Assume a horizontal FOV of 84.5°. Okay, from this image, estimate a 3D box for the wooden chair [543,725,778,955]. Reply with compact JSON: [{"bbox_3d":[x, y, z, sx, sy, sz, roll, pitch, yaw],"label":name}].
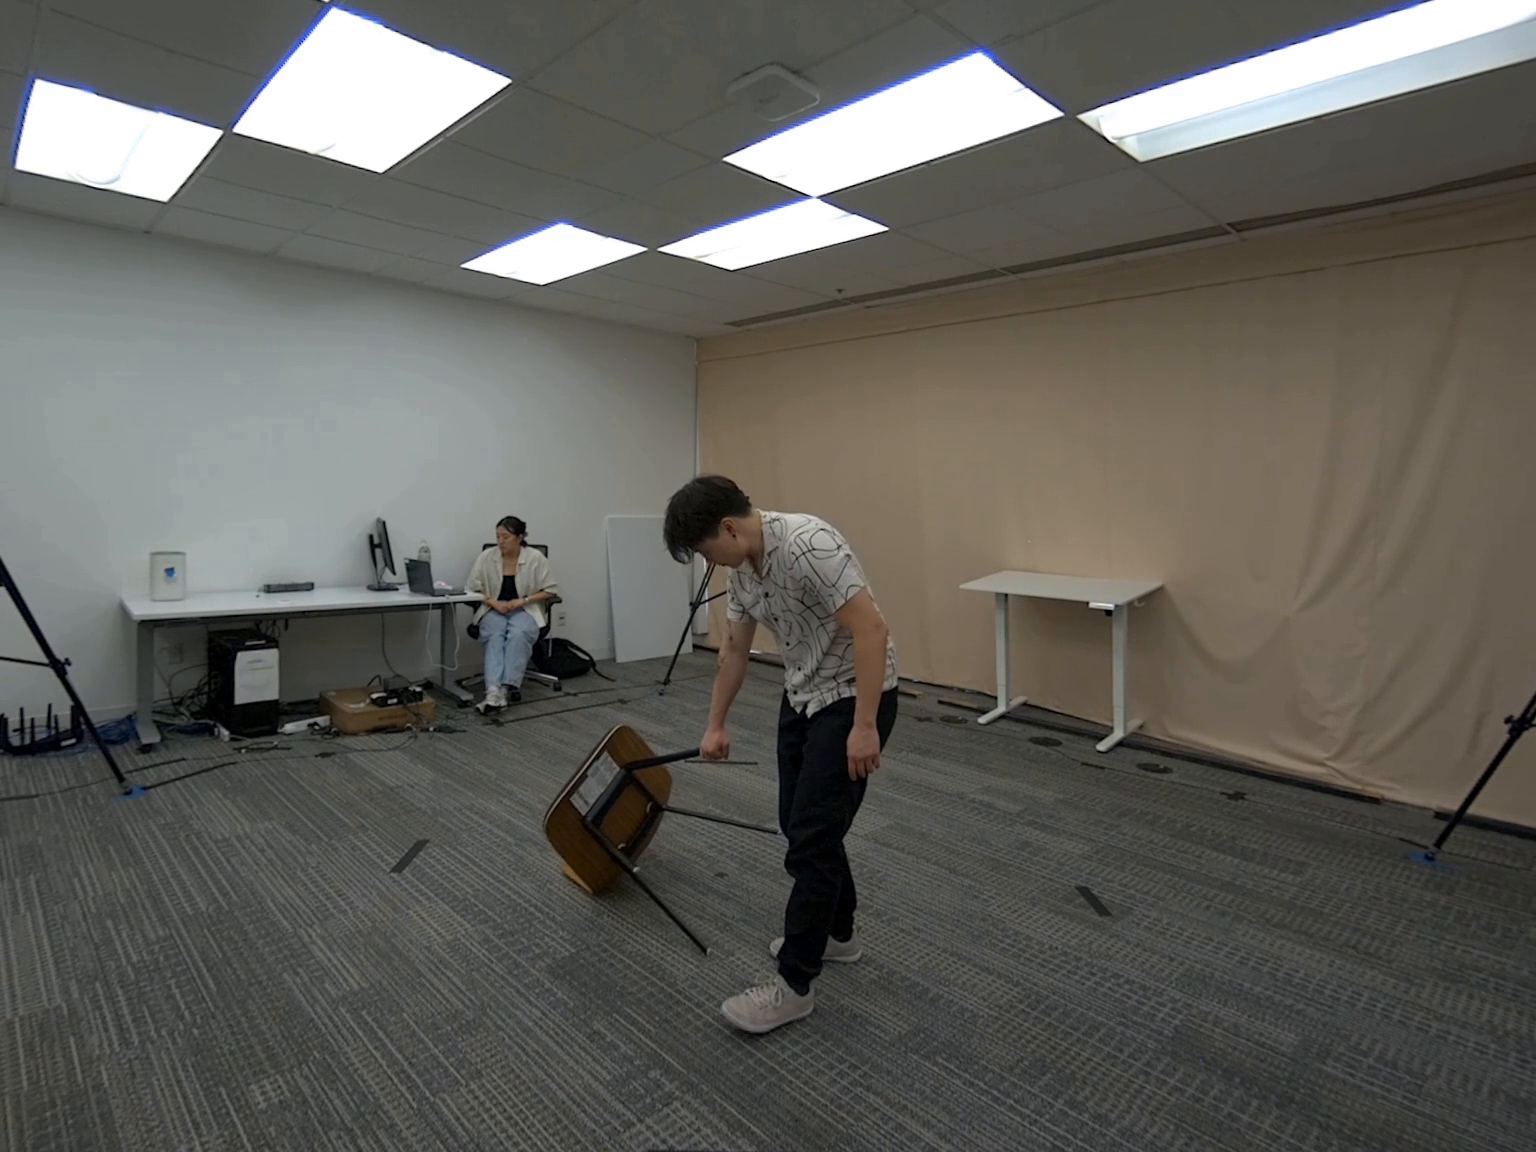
[{"bbox_3d":[-0.491,0.816,2.853,0.898,0.510,0.479,0,42,46],"label":"wooden chair"}]
